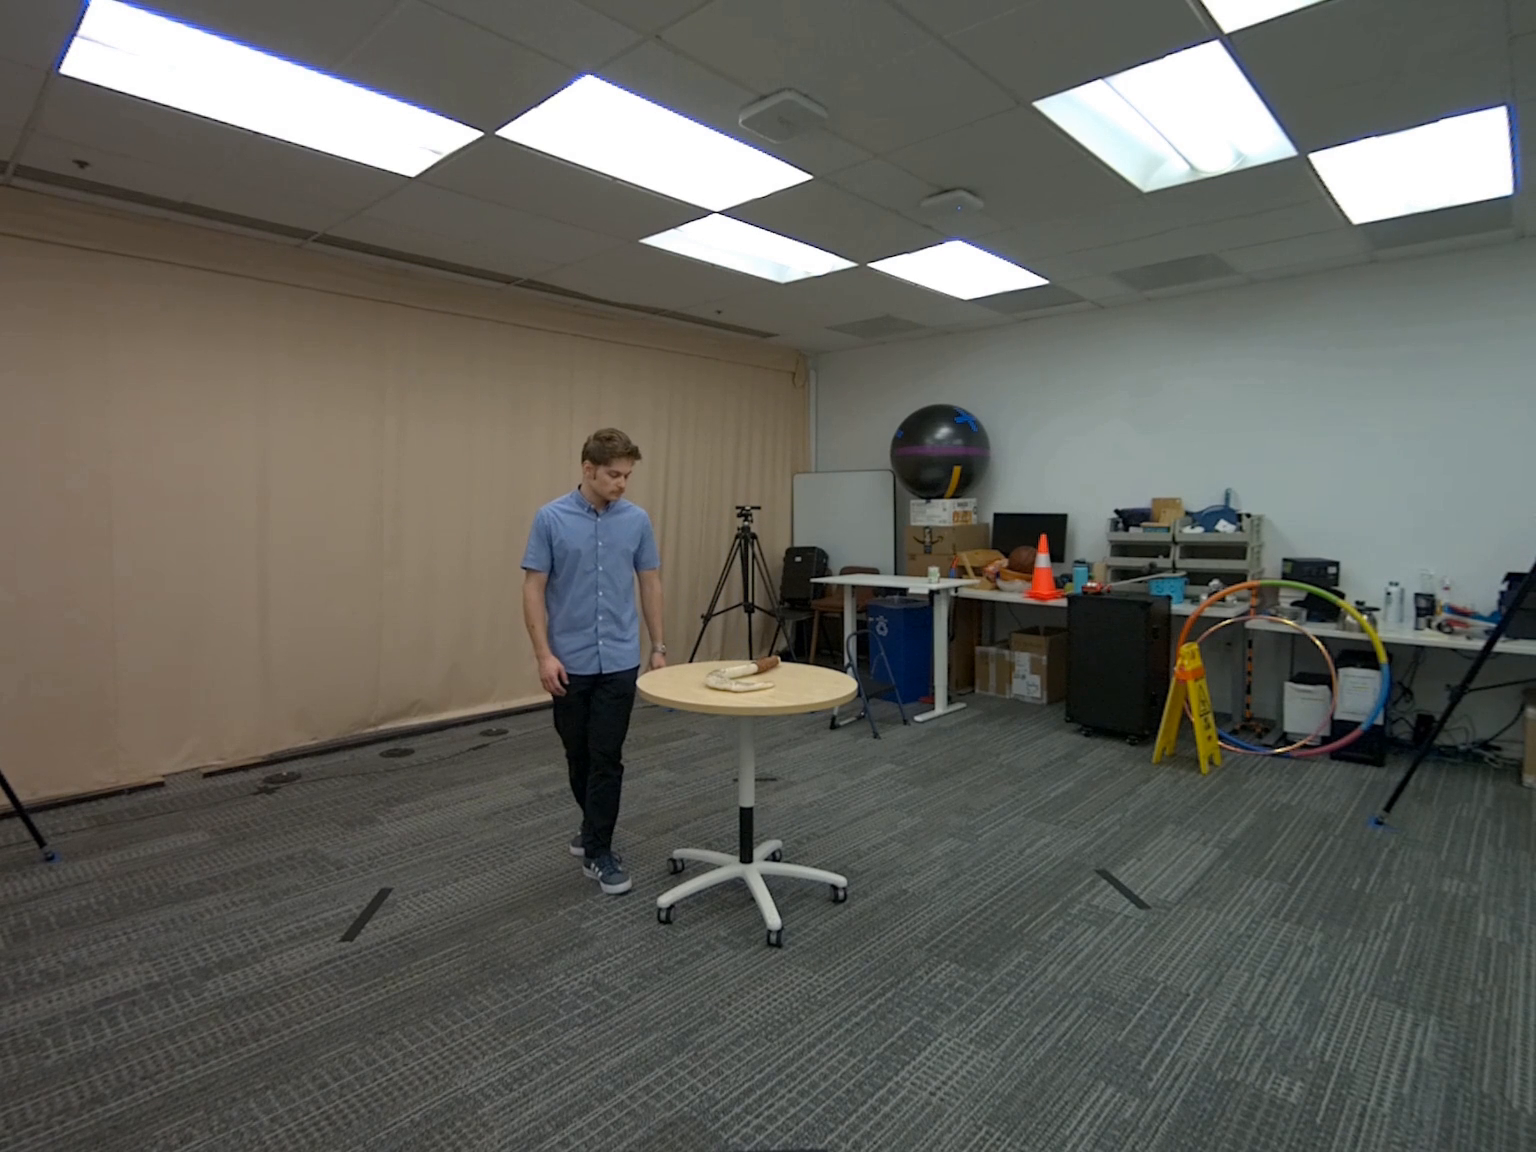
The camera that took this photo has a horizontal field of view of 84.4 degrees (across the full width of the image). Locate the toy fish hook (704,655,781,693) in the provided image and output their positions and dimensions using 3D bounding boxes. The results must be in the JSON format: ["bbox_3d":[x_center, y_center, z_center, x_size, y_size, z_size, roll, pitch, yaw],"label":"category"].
[{"bbox_3d":[-0.034,0.351,2.973,0.231,0.048,0.494,11,10,27],"label":"toy fish hook"}]
